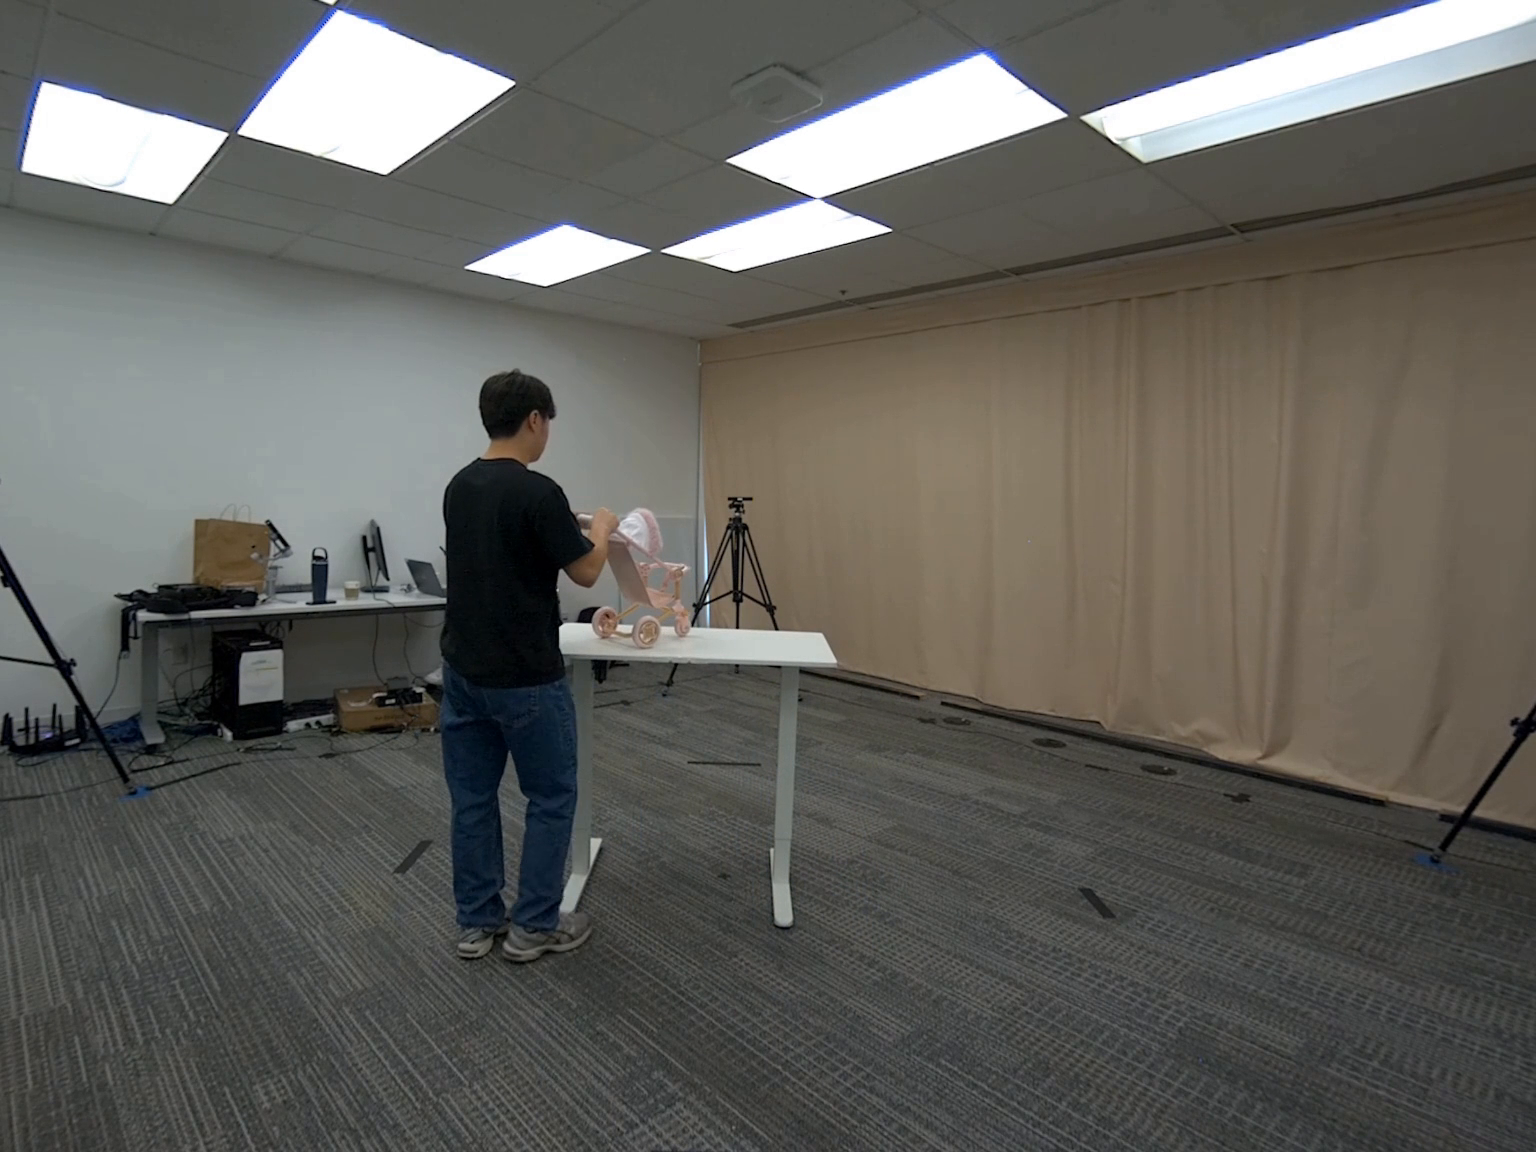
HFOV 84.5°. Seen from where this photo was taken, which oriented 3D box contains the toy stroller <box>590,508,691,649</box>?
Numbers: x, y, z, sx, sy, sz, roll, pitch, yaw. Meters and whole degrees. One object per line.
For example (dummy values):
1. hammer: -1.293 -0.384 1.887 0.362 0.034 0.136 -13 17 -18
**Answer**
1. toy stroller: -0.443 0.007 2.937 0.336 0.529 0.289 -19 17 -37
